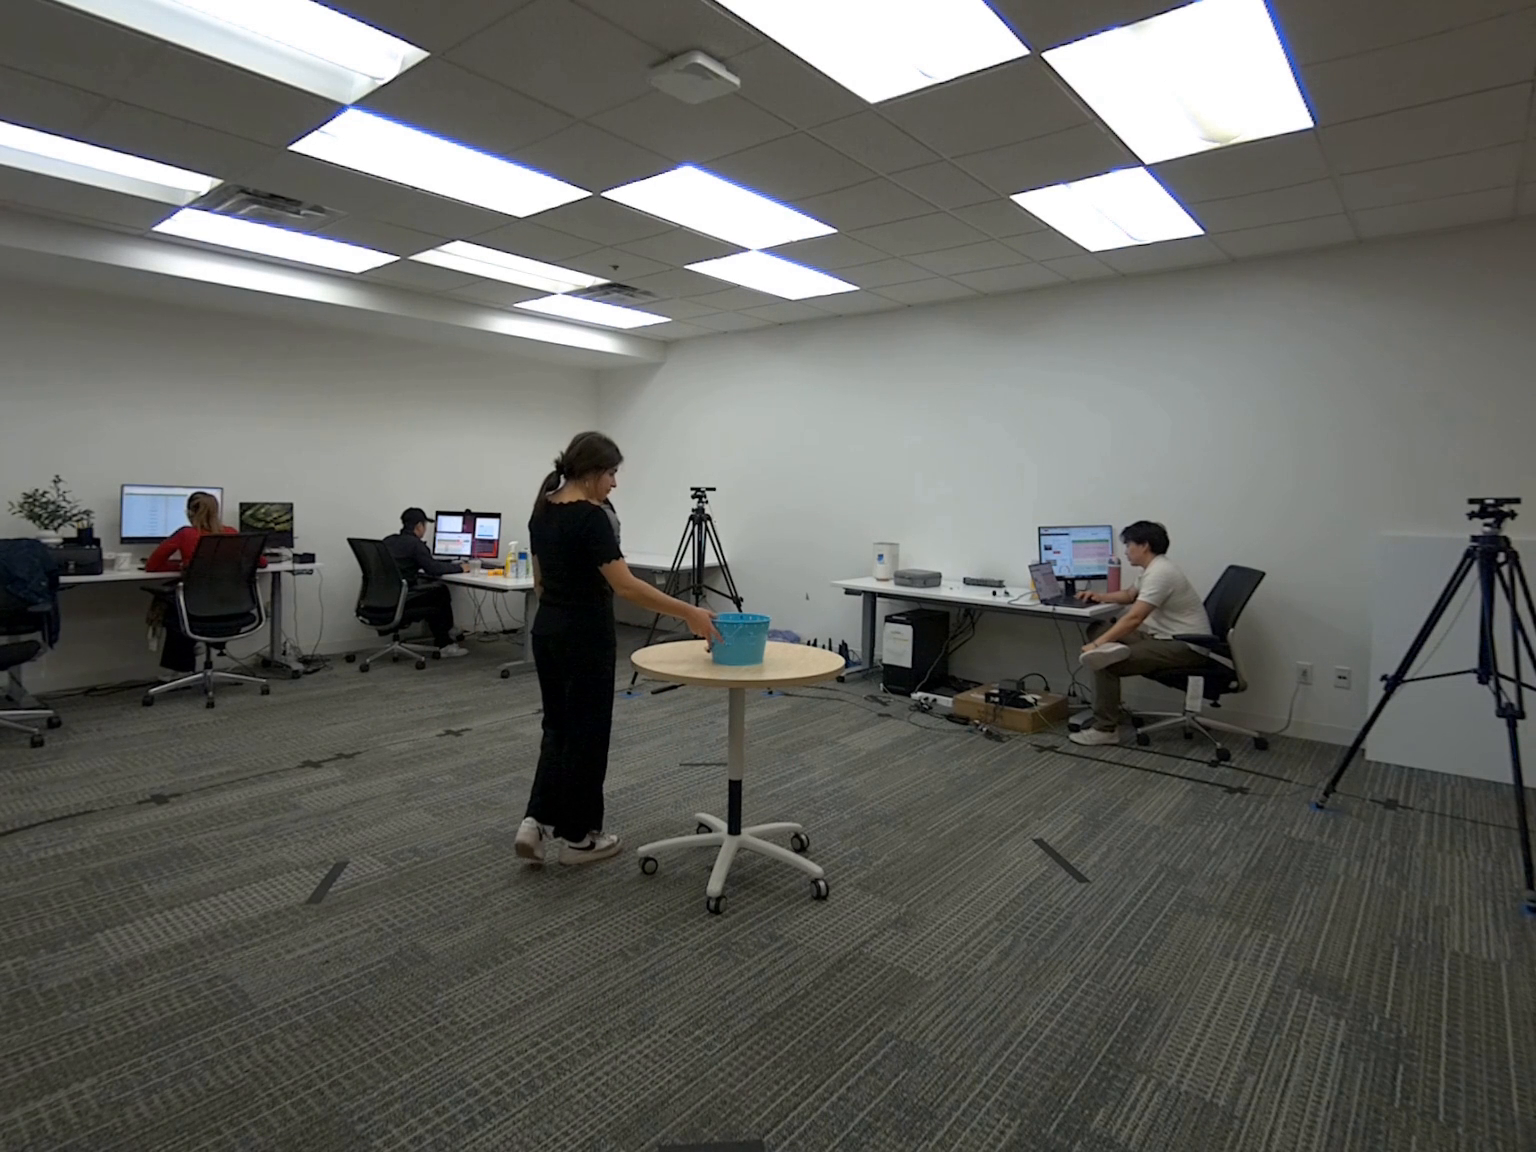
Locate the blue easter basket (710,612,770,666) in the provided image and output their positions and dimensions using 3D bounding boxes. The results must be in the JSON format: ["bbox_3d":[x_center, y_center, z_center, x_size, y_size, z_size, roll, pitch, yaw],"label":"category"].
[{"bbox_3d":[-0.122,0.223,3.000,0.243,0.155,0.245,0,5,-2],"label":"blue easter basket"}]
